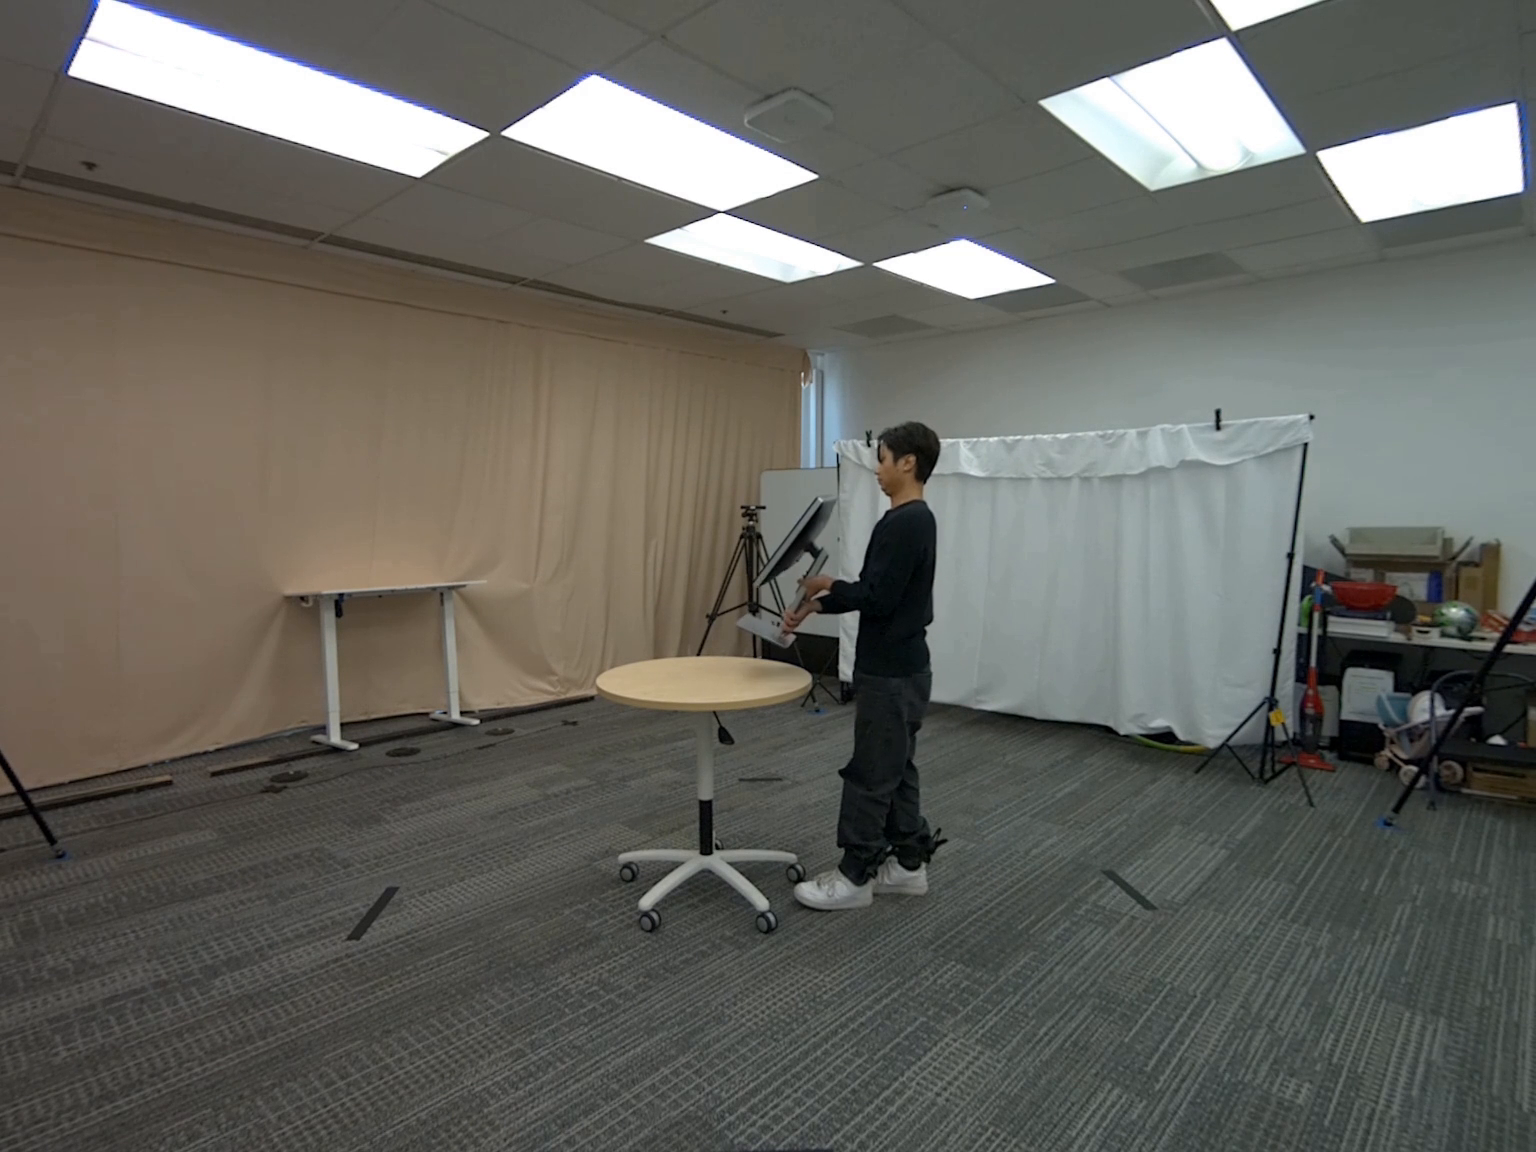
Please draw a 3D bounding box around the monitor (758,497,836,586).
[{"bbox_3d":[0.105,-0.032,3.028,0.189,0.522,0.535,25,9,5],"label":"monitor"}]
